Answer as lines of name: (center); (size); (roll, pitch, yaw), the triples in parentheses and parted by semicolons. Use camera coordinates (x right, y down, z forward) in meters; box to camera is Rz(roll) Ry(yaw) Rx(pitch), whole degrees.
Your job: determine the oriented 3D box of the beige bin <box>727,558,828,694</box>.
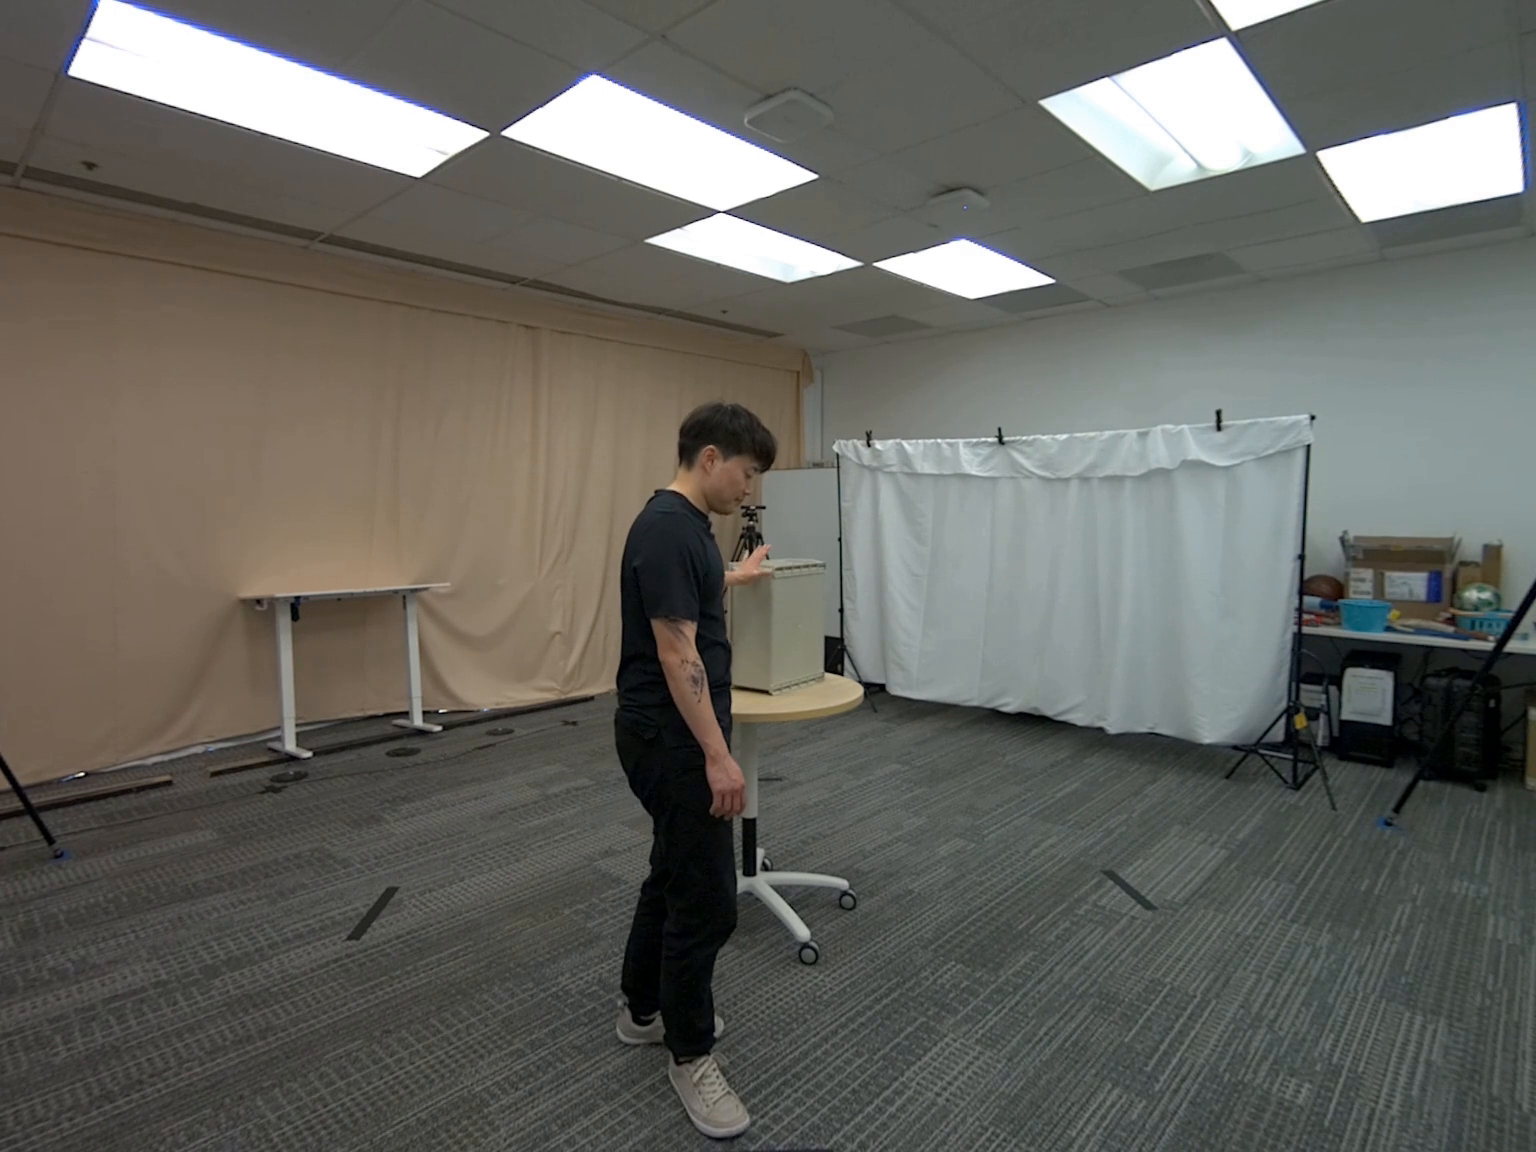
beige bin: (0.050, 0.162, 2.872); (0.195, 0.421, 0.366); (3, 5, 36)
